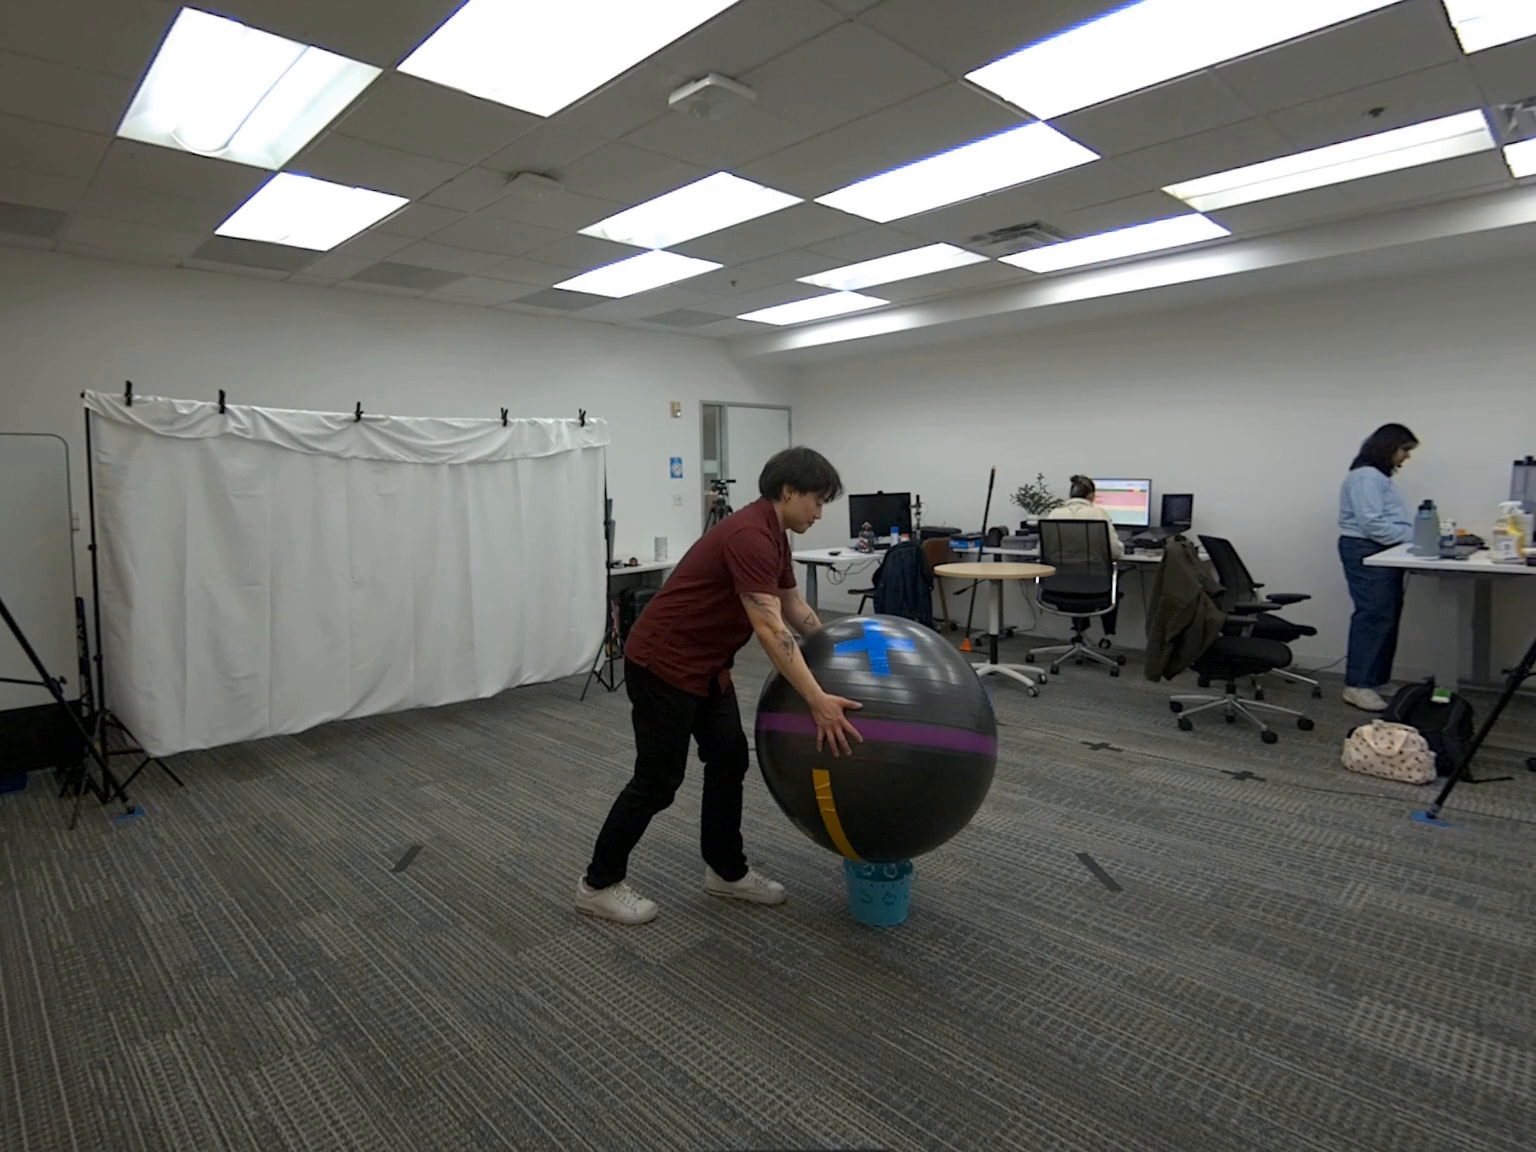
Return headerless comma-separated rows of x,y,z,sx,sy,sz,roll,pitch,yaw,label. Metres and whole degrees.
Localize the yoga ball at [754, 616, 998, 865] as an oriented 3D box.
0.342,0.503,2.716,0.757,0.755,0.762,-1,5,-2,yoga ball
